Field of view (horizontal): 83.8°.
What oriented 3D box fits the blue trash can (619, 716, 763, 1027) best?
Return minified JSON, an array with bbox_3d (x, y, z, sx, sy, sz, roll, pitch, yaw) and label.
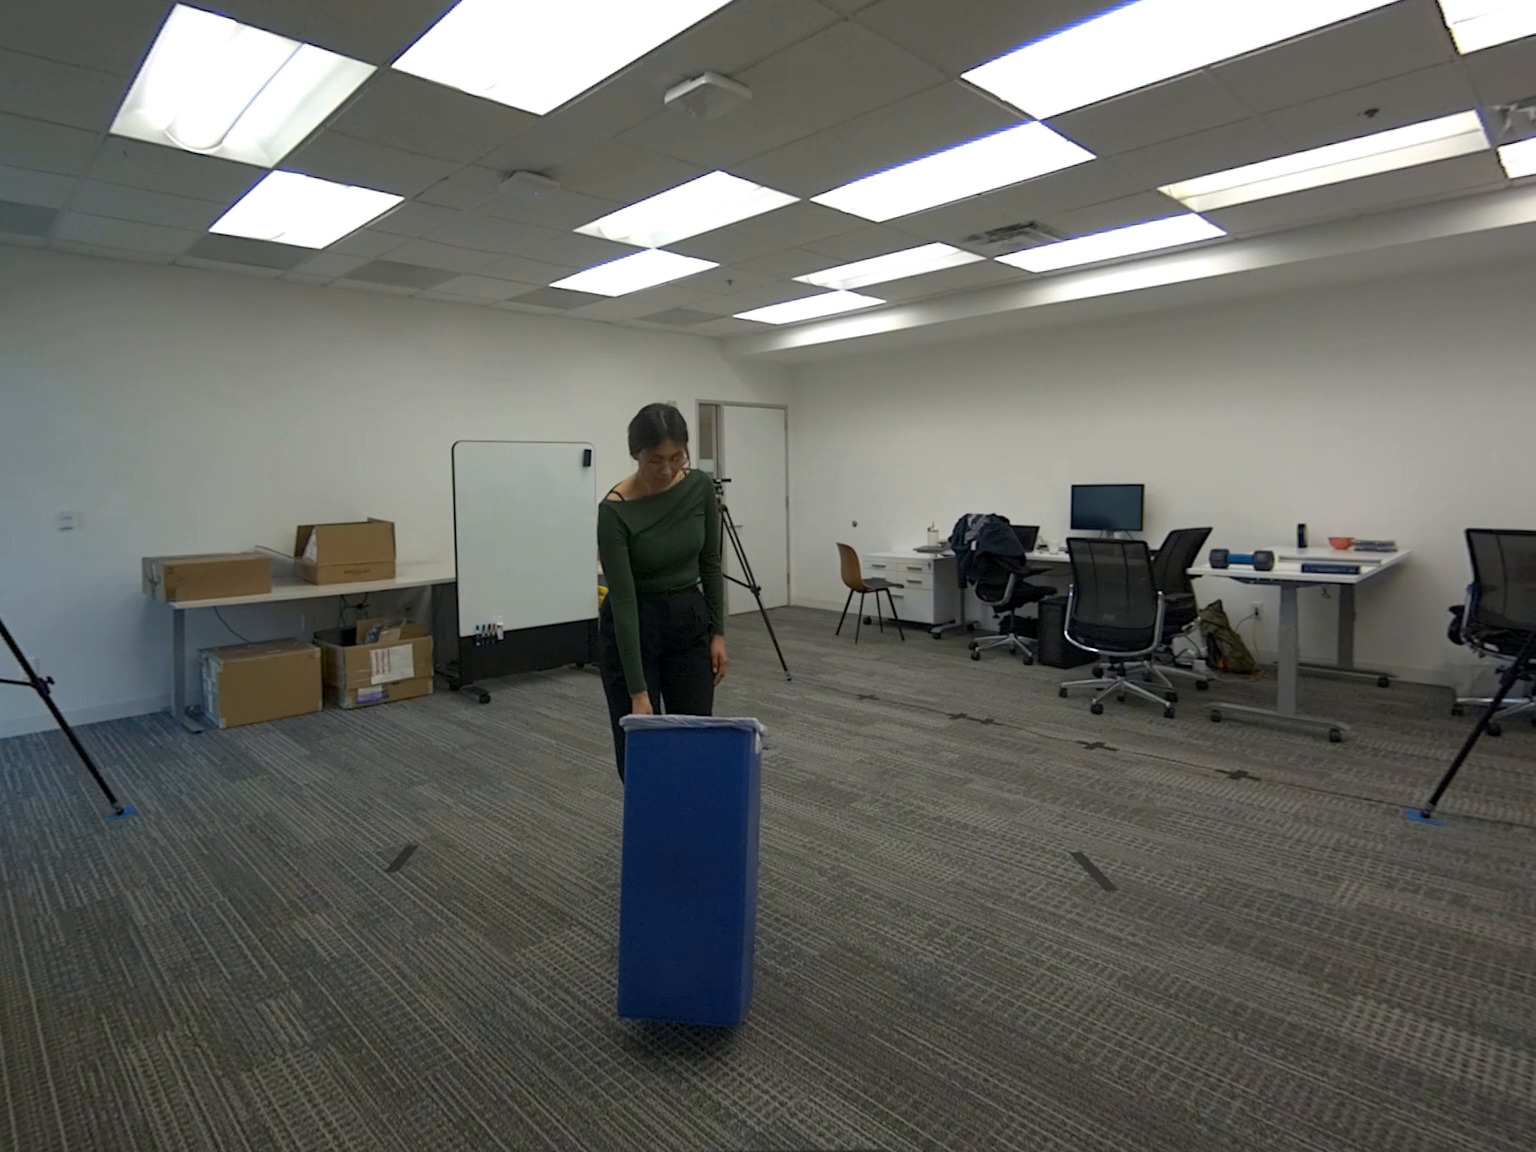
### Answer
[{"bbox_3d":[-0.192,0.759,2.276,0.380,0.724,0.366,-1,-17,5],"label":"blue trash can"}]
